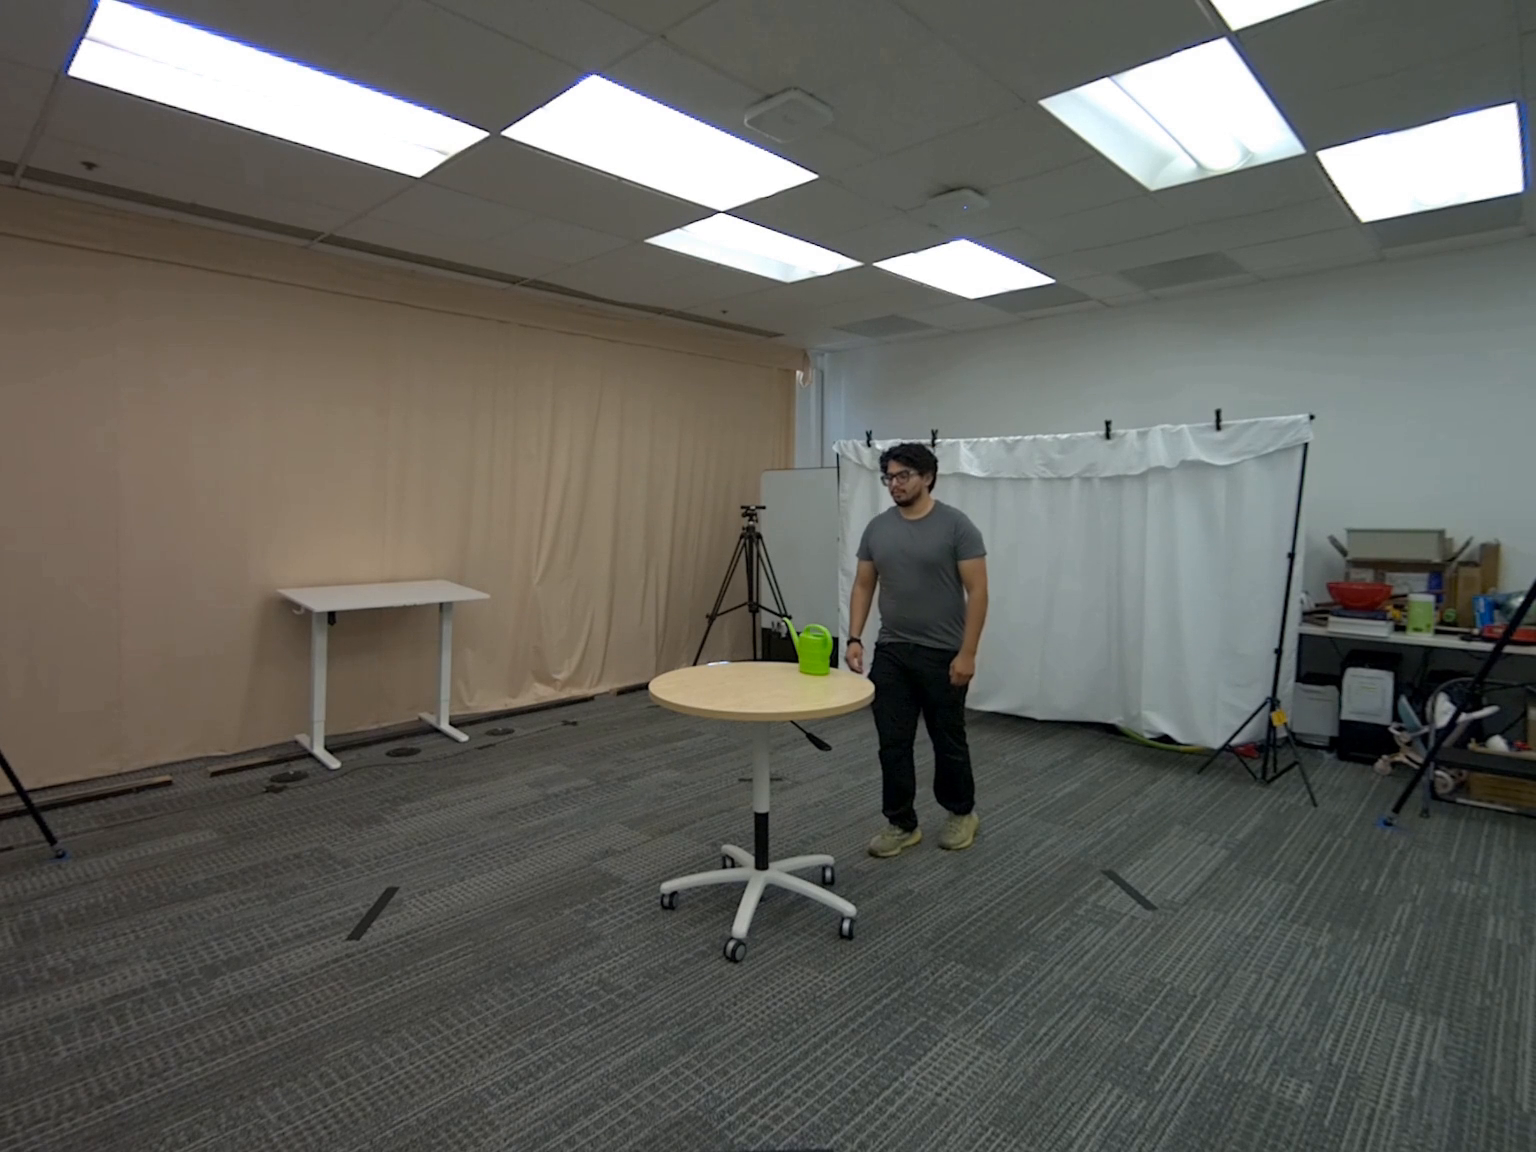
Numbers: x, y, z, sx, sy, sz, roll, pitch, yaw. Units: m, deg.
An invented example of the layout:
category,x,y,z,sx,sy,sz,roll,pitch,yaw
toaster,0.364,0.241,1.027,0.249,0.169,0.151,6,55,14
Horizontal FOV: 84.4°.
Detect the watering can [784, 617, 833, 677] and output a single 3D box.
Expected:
category,x,y,z,sx,sy,sz,roll,pitch,yaw
watering can,0.150,0.259,3.099,0.096,0.176,0.285,-2,6,-20
